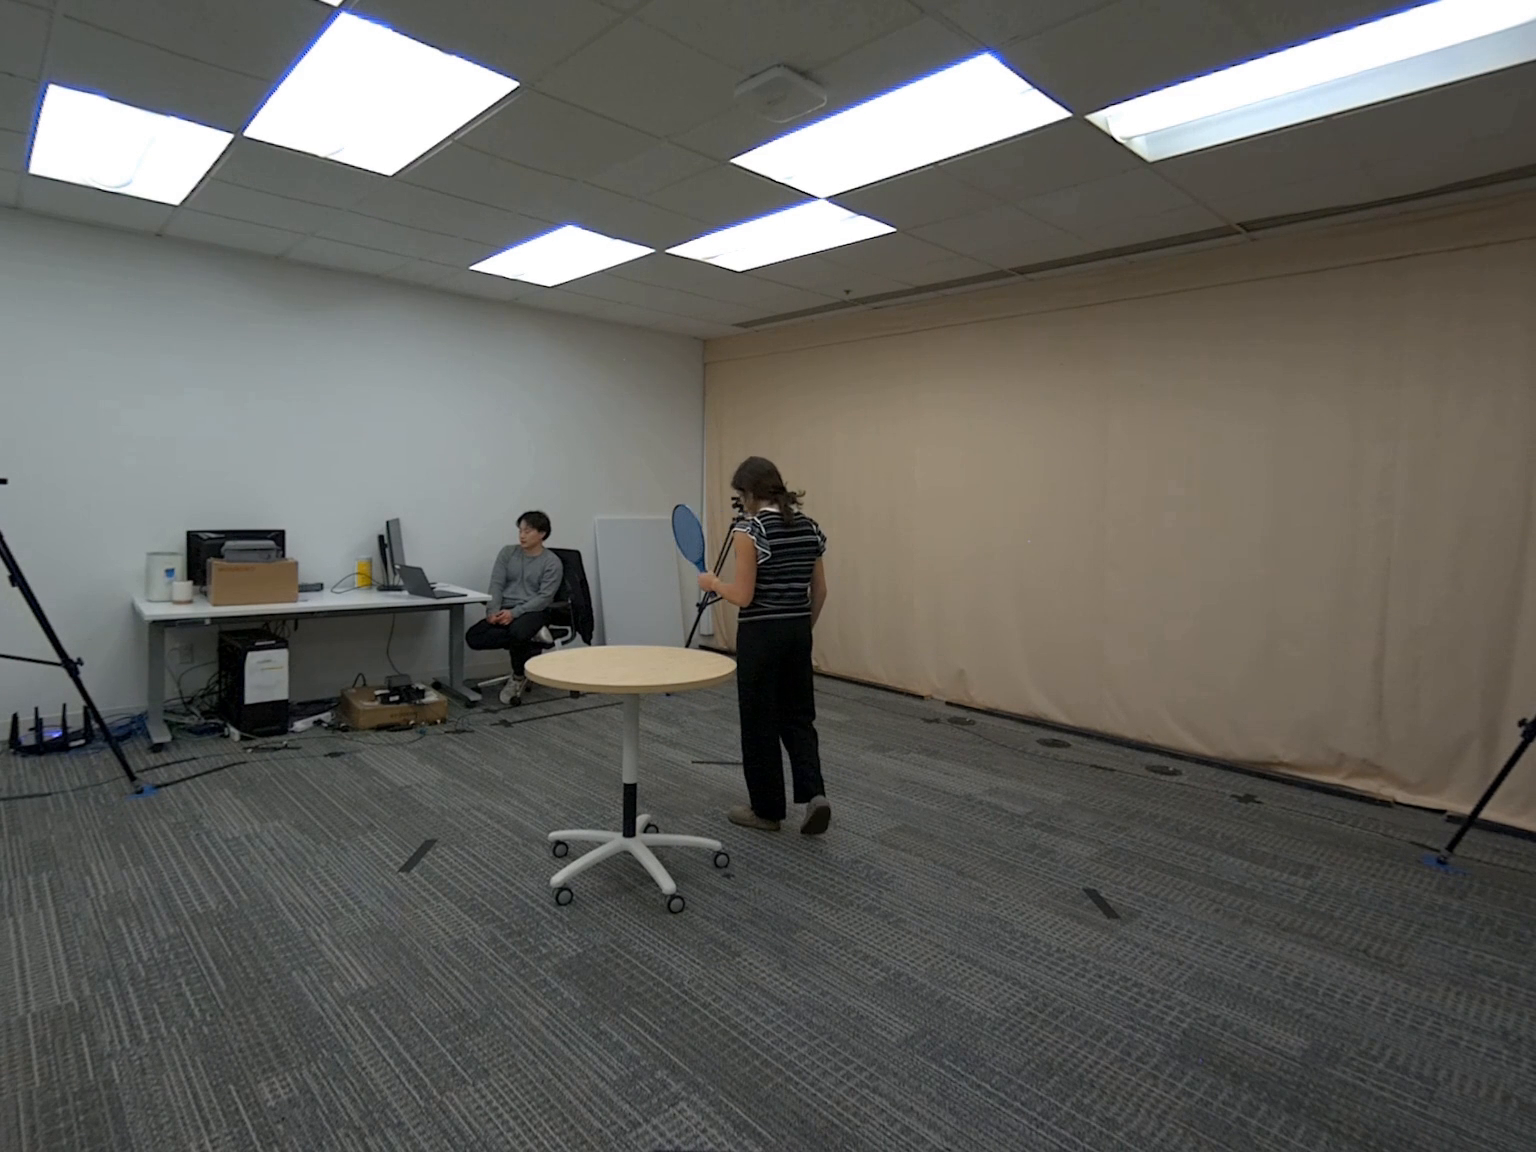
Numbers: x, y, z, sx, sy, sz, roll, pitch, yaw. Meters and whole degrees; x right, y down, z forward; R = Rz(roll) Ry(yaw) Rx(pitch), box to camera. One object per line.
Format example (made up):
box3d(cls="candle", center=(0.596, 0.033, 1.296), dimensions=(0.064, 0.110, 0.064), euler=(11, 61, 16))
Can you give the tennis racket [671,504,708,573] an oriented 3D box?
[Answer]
box3d(cls="tennis racket", center=(-0.311, -0.100, 3.595), dimensions=(0.031, 0.437, 0.215), euler=(-15, -11, -39))
